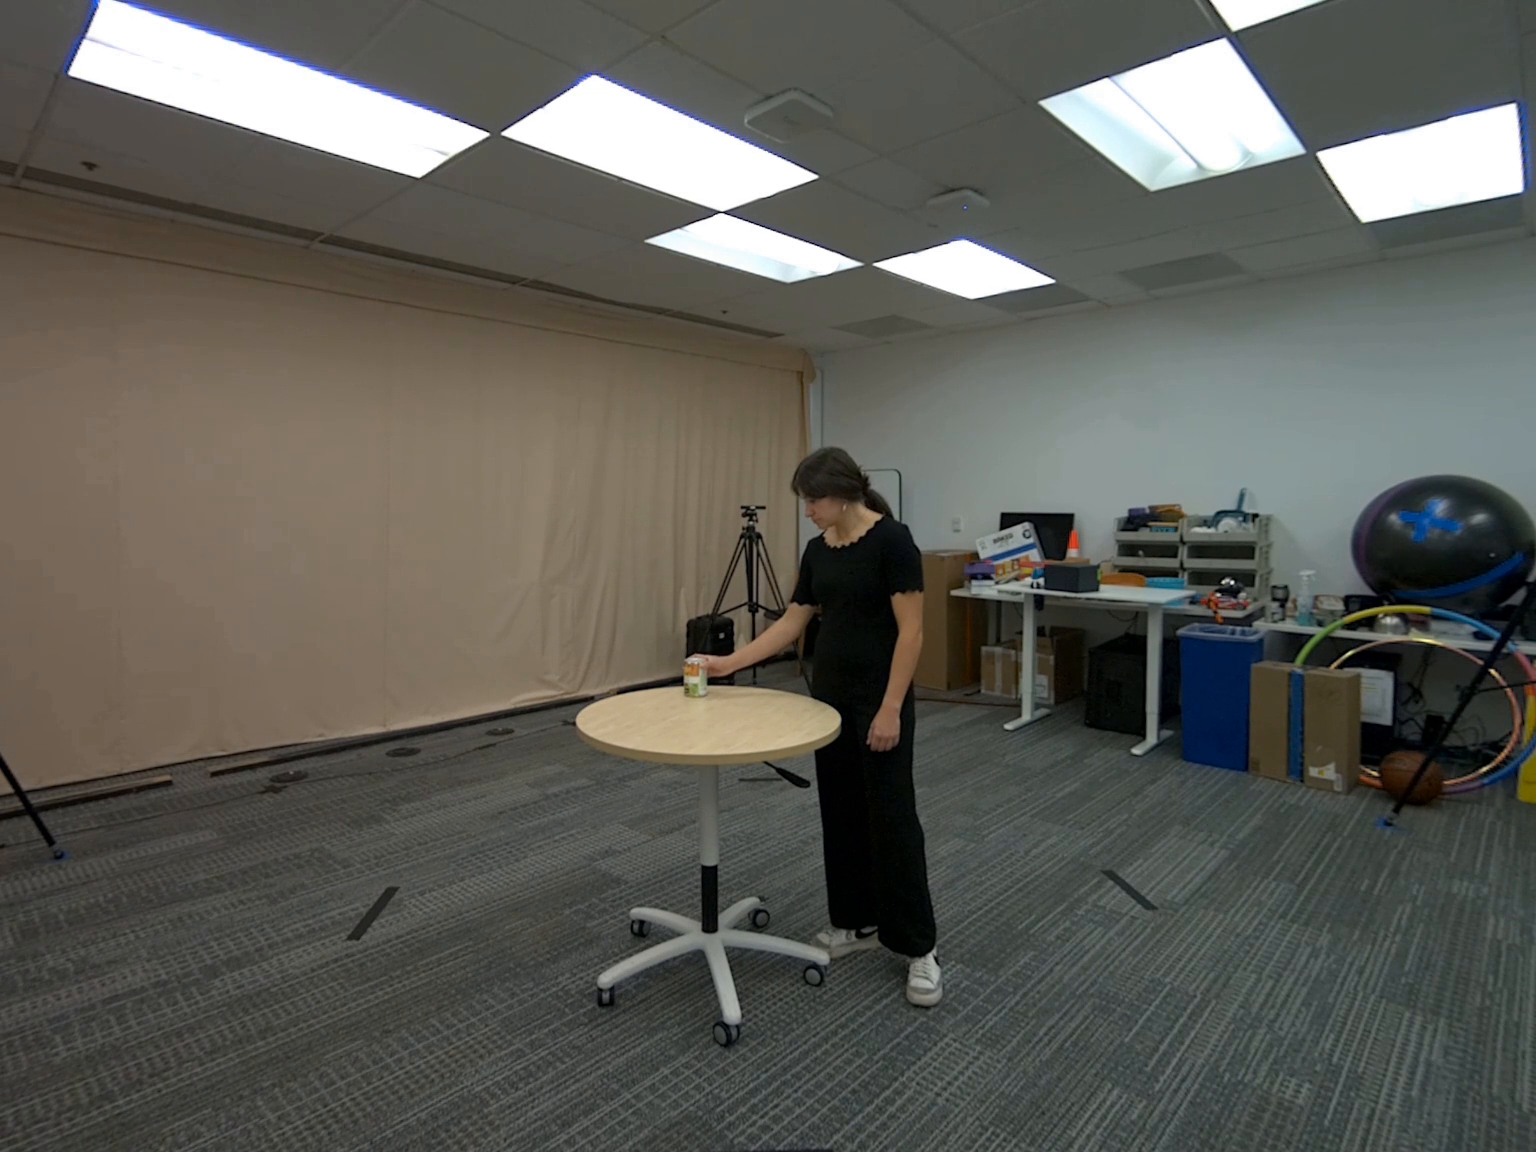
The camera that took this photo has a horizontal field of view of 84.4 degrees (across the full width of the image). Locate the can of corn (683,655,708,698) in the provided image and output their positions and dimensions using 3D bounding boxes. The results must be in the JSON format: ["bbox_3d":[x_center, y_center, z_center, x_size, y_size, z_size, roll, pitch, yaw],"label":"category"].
[{"bbox_3d":[-0.230,0.331,2.698,0.074,0.111,0.074,2,2,-2],"label":"can of corn"}]
